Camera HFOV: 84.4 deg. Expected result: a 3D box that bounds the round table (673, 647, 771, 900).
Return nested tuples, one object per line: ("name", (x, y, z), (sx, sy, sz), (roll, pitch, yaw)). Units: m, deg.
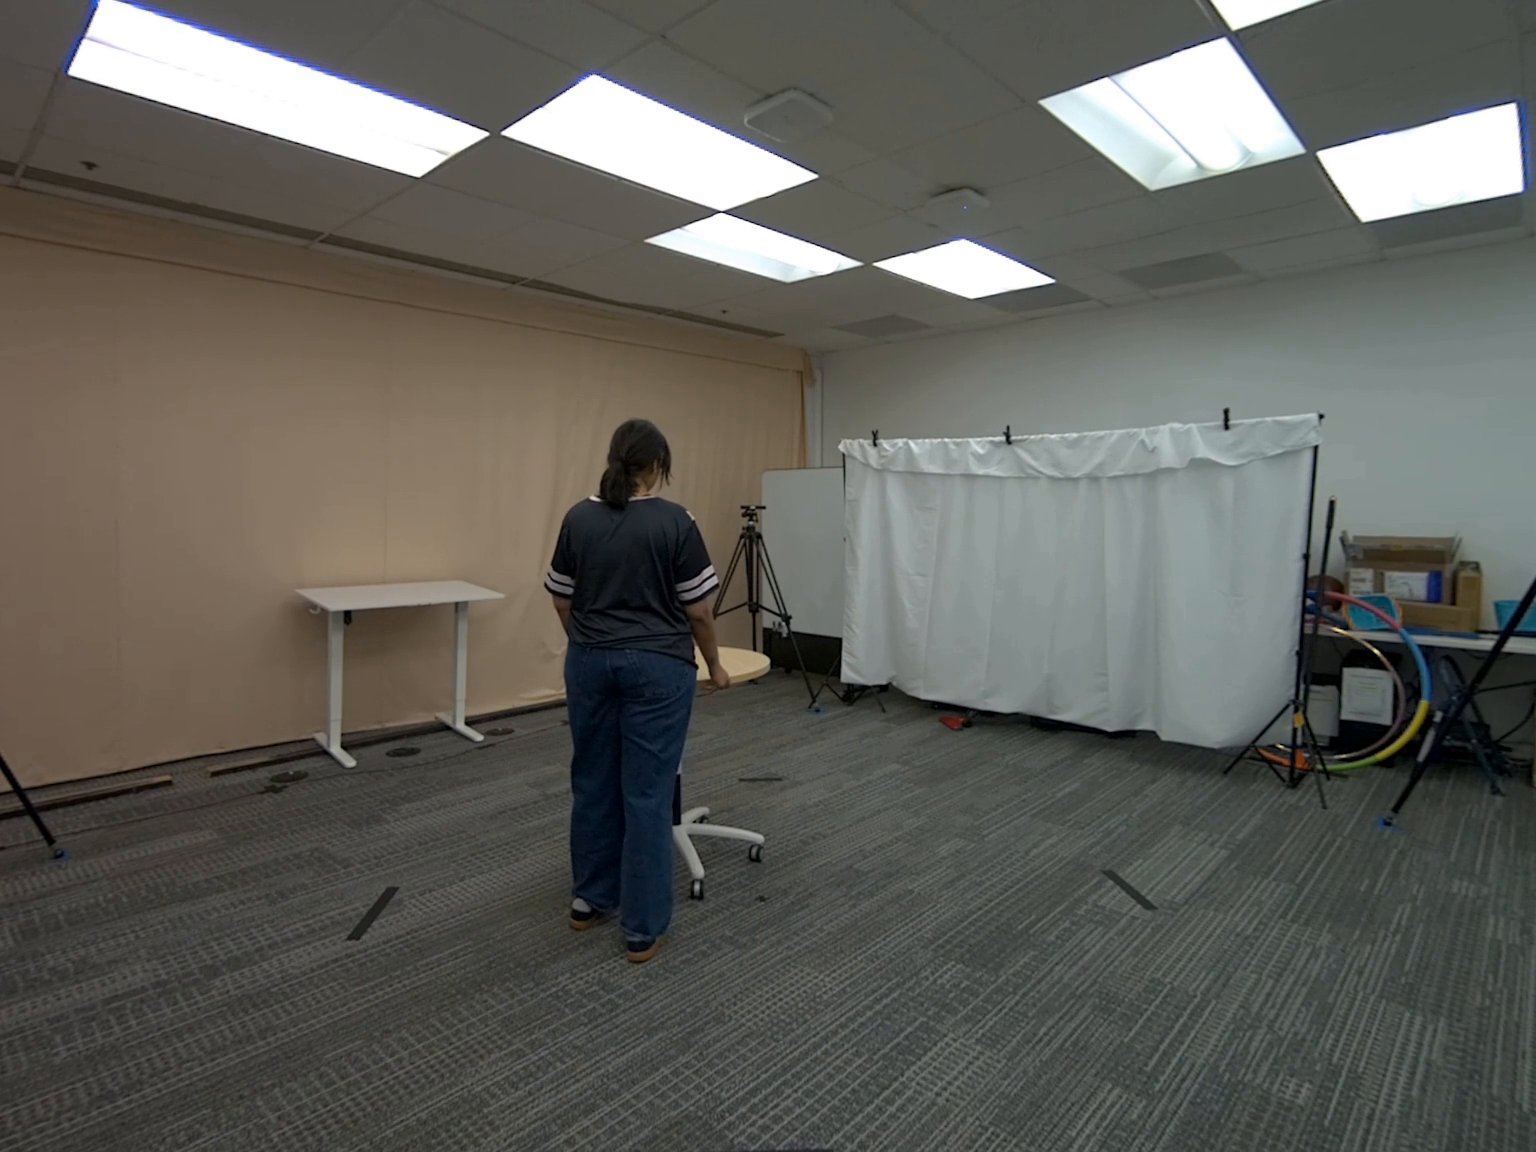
("round table", (-0.363, 0.729, 3.310), (0.763, 0.792, 0.766), (-1, 4, -2))
